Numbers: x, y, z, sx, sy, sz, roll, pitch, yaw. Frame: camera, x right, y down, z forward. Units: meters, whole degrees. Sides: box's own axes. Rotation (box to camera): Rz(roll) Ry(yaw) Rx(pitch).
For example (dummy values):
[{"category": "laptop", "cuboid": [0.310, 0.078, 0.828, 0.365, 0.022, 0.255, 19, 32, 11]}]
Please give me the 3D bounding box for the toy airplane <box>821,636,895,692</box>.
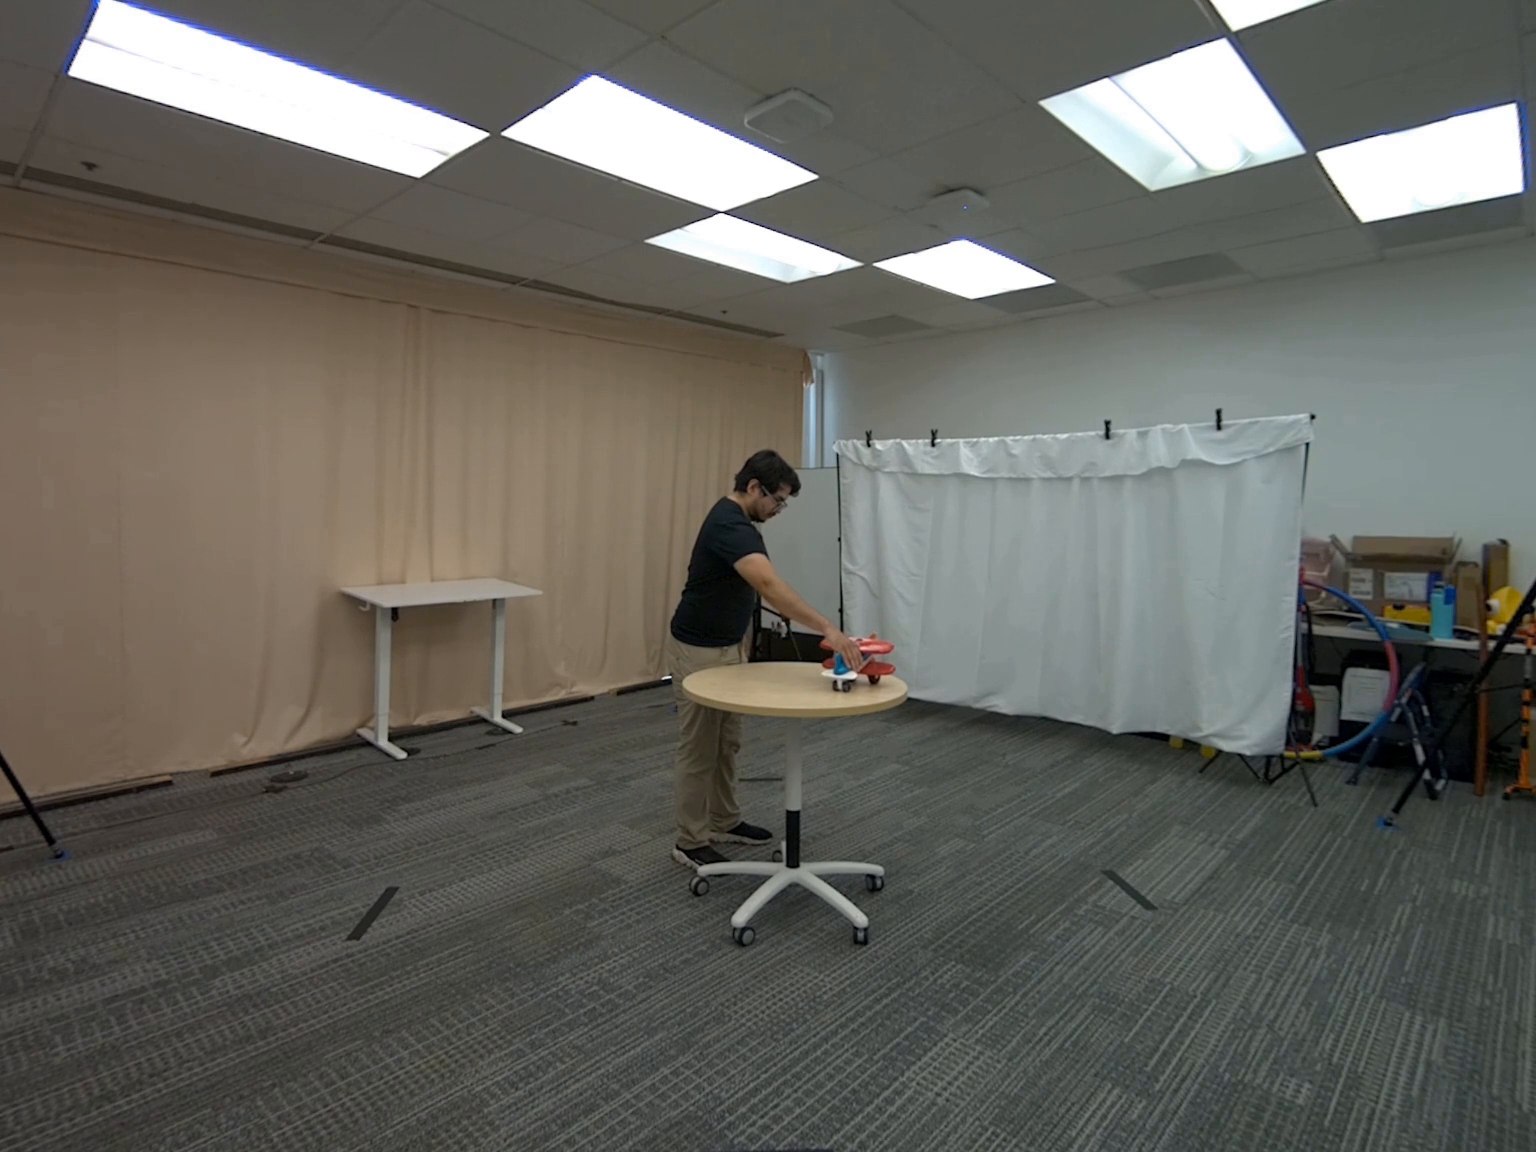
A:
[{"category": "toy airplane", "cuboid": [0.310, 0.297, 2.823, 0.252, 0.156, 0.259, 1, 3, 3]}]
